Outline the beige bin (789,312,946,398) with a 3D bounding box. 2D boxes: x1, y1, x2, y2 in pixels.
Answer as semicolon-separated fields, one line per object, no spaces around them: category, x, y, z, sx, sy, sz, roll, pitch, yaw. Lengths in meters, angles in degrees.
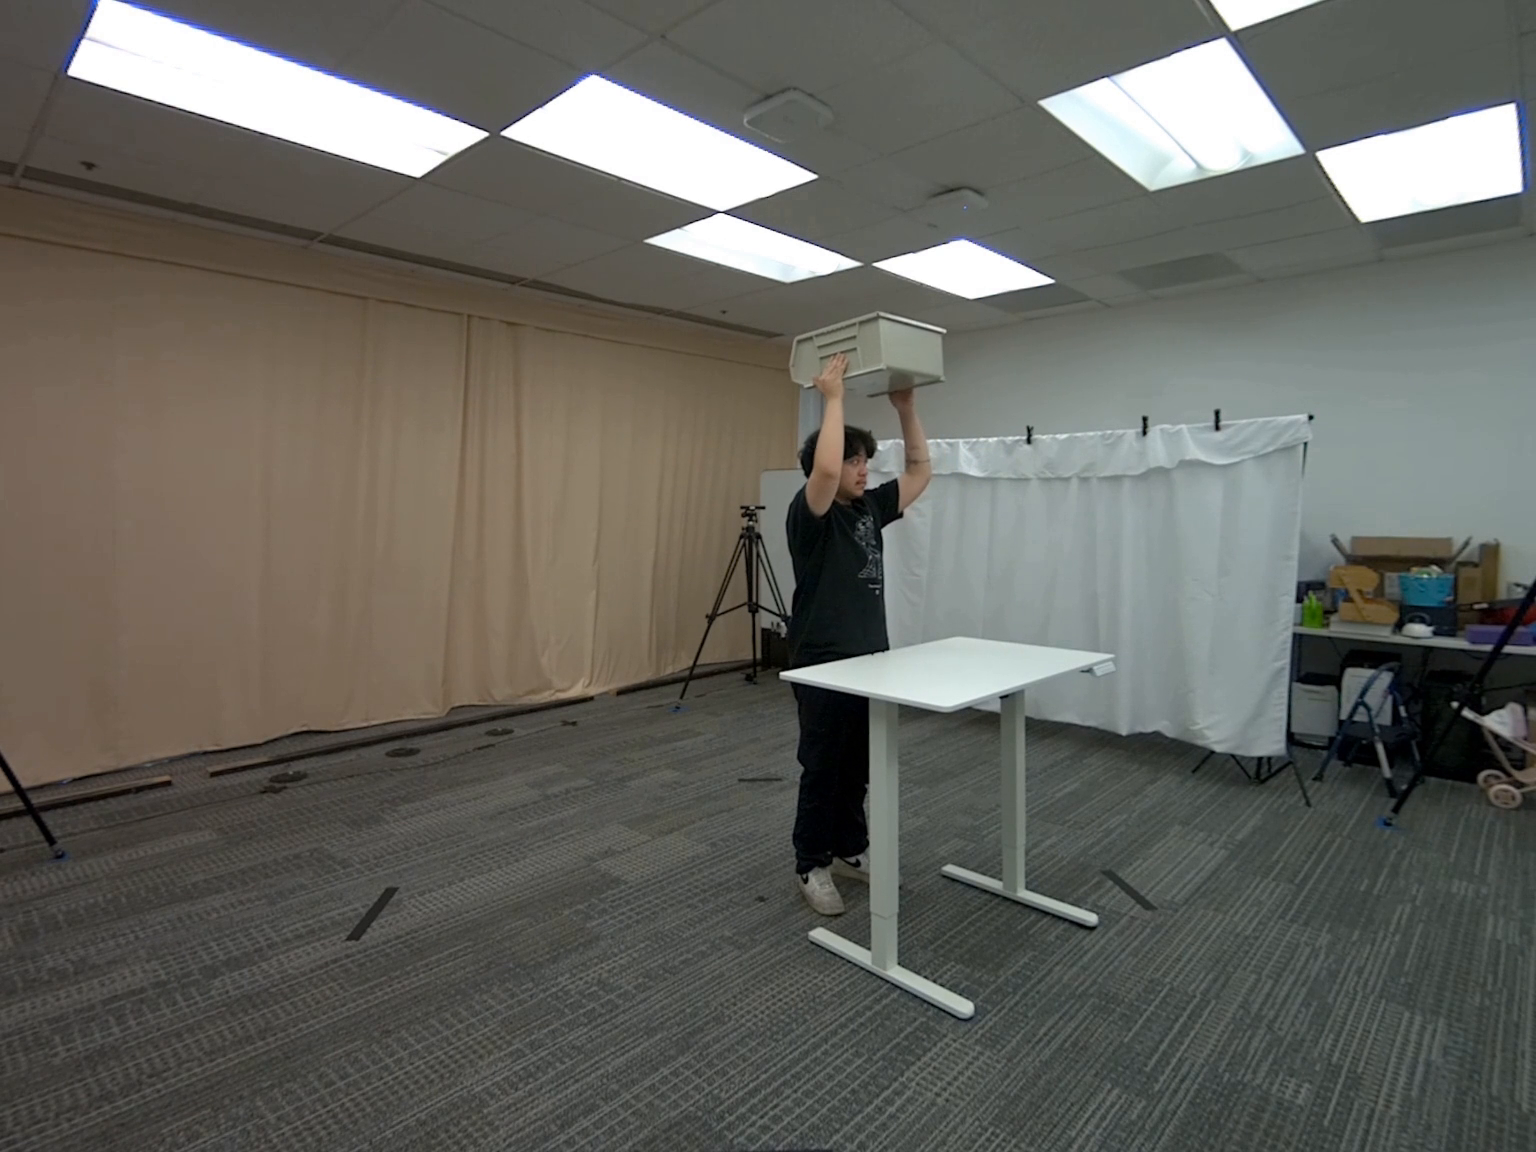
beige bin;0.354;-0.748;2.929;0.389;0.189;0.409;-3;1;42
